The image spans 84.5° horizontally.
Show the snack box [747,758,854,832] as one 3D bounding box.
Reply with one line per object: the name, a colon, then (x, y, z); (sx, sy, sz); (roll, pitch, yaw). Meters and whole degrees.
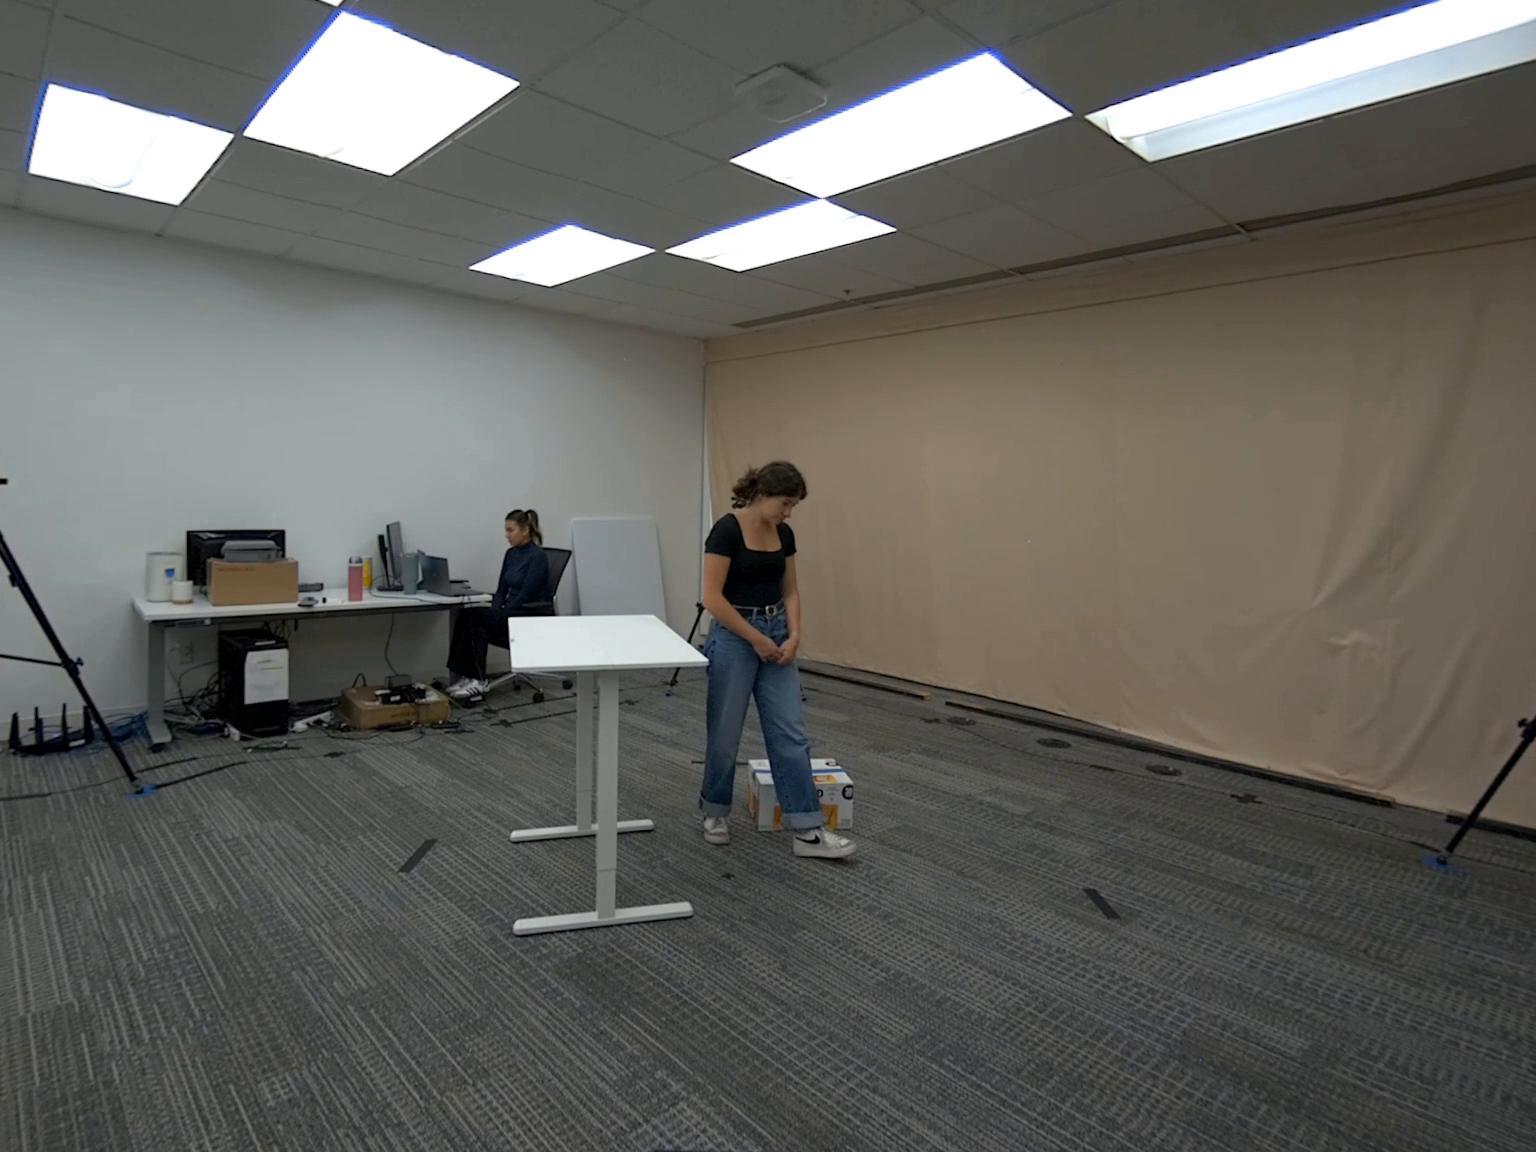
snack box: (0.125, 0.960, 3.718); (0.402, 0.205, 0.343); (1, 4, -9)
